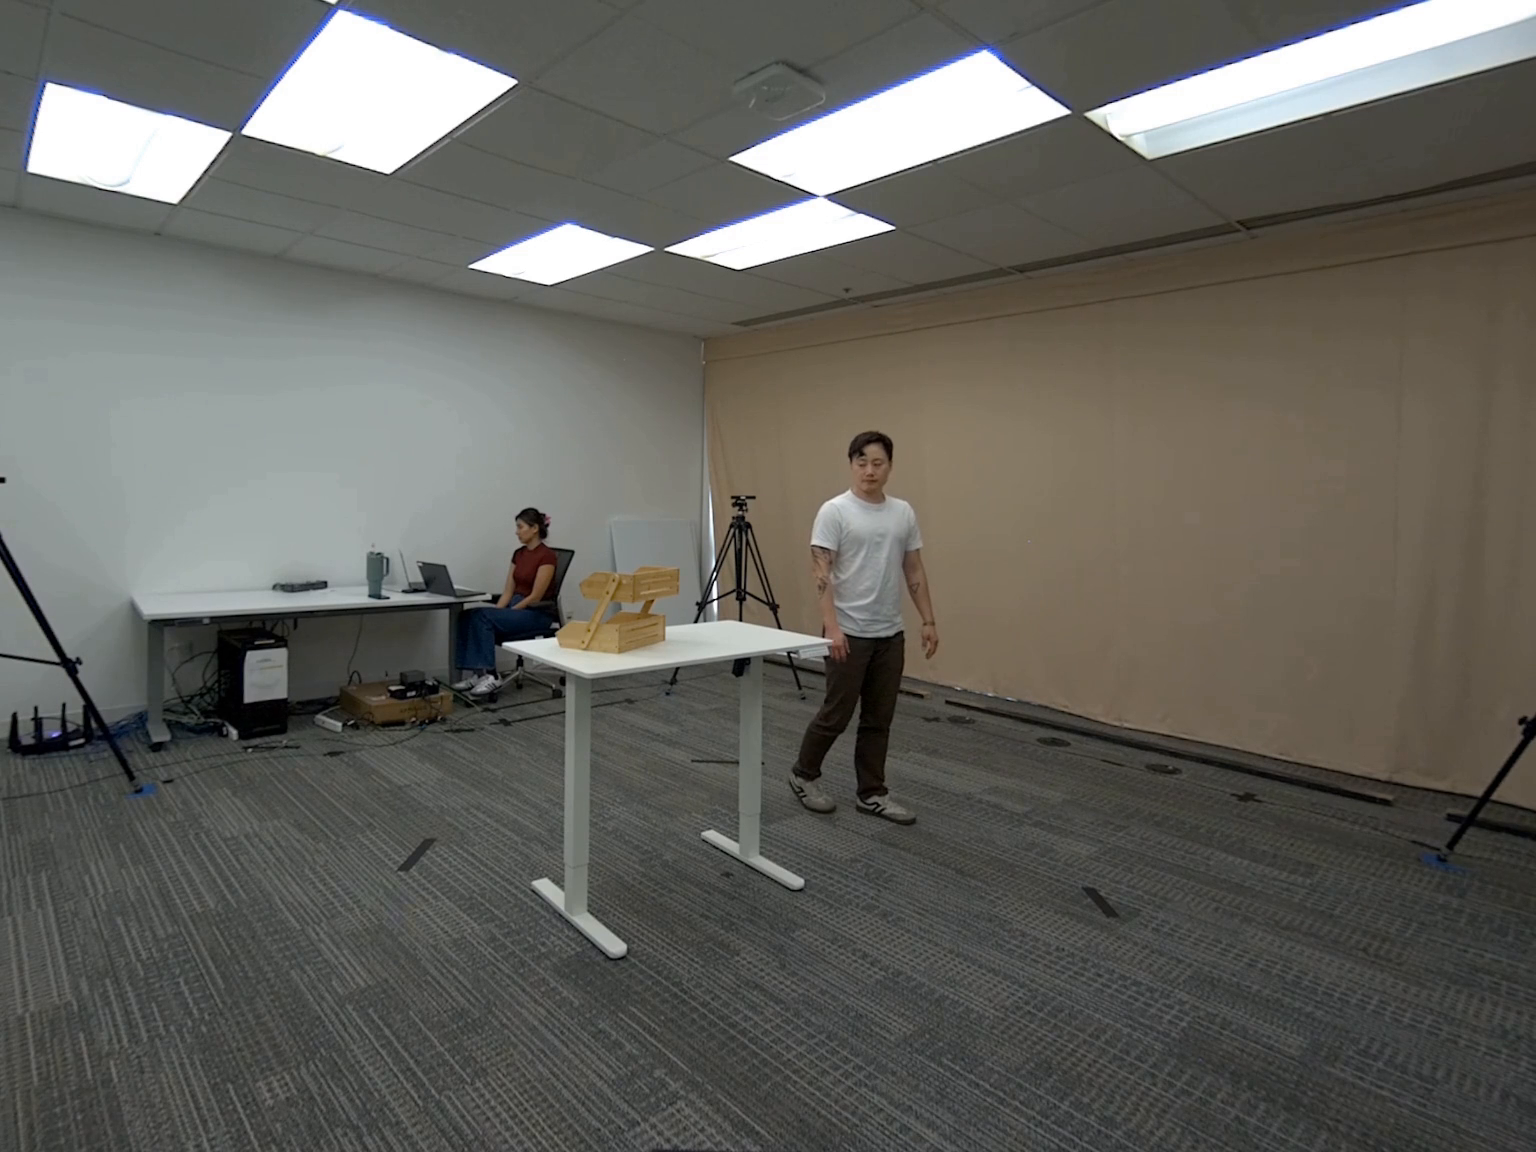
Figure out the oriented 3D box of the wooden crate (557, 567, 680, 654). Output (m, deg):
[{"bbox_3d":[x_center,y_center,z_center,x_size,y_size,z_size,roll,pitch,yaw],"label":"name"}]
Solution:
[{"bbox_3d":[-0.520,0.102,2.866,0.308,0.272,0.319,4,5,24],"label":"wooden crate"}]
